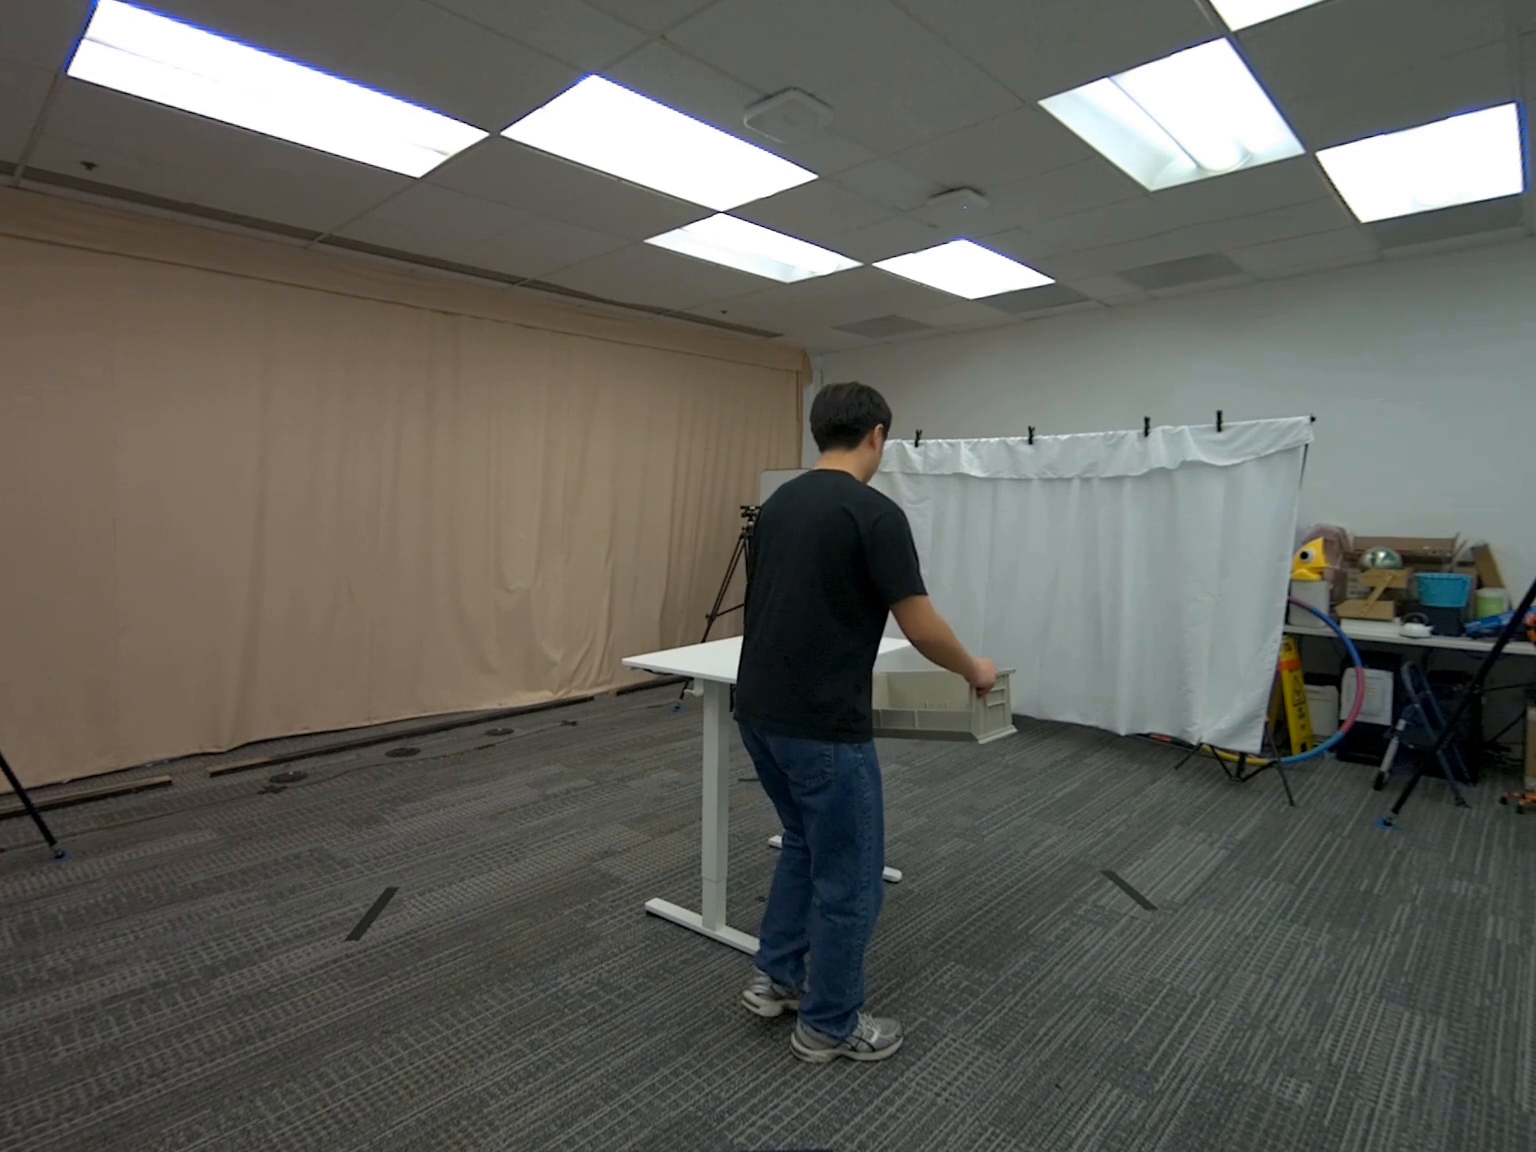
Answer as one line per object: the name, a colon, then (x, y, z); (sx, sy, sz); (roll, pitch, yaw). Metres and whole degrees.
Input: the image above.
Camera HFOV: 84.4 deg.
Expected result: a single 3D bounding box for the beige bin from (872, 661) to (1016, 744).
beige bin: (0.451, 0.370, 2.408); (0.434, 0.190, 0.365); (-6, -7, 34)
